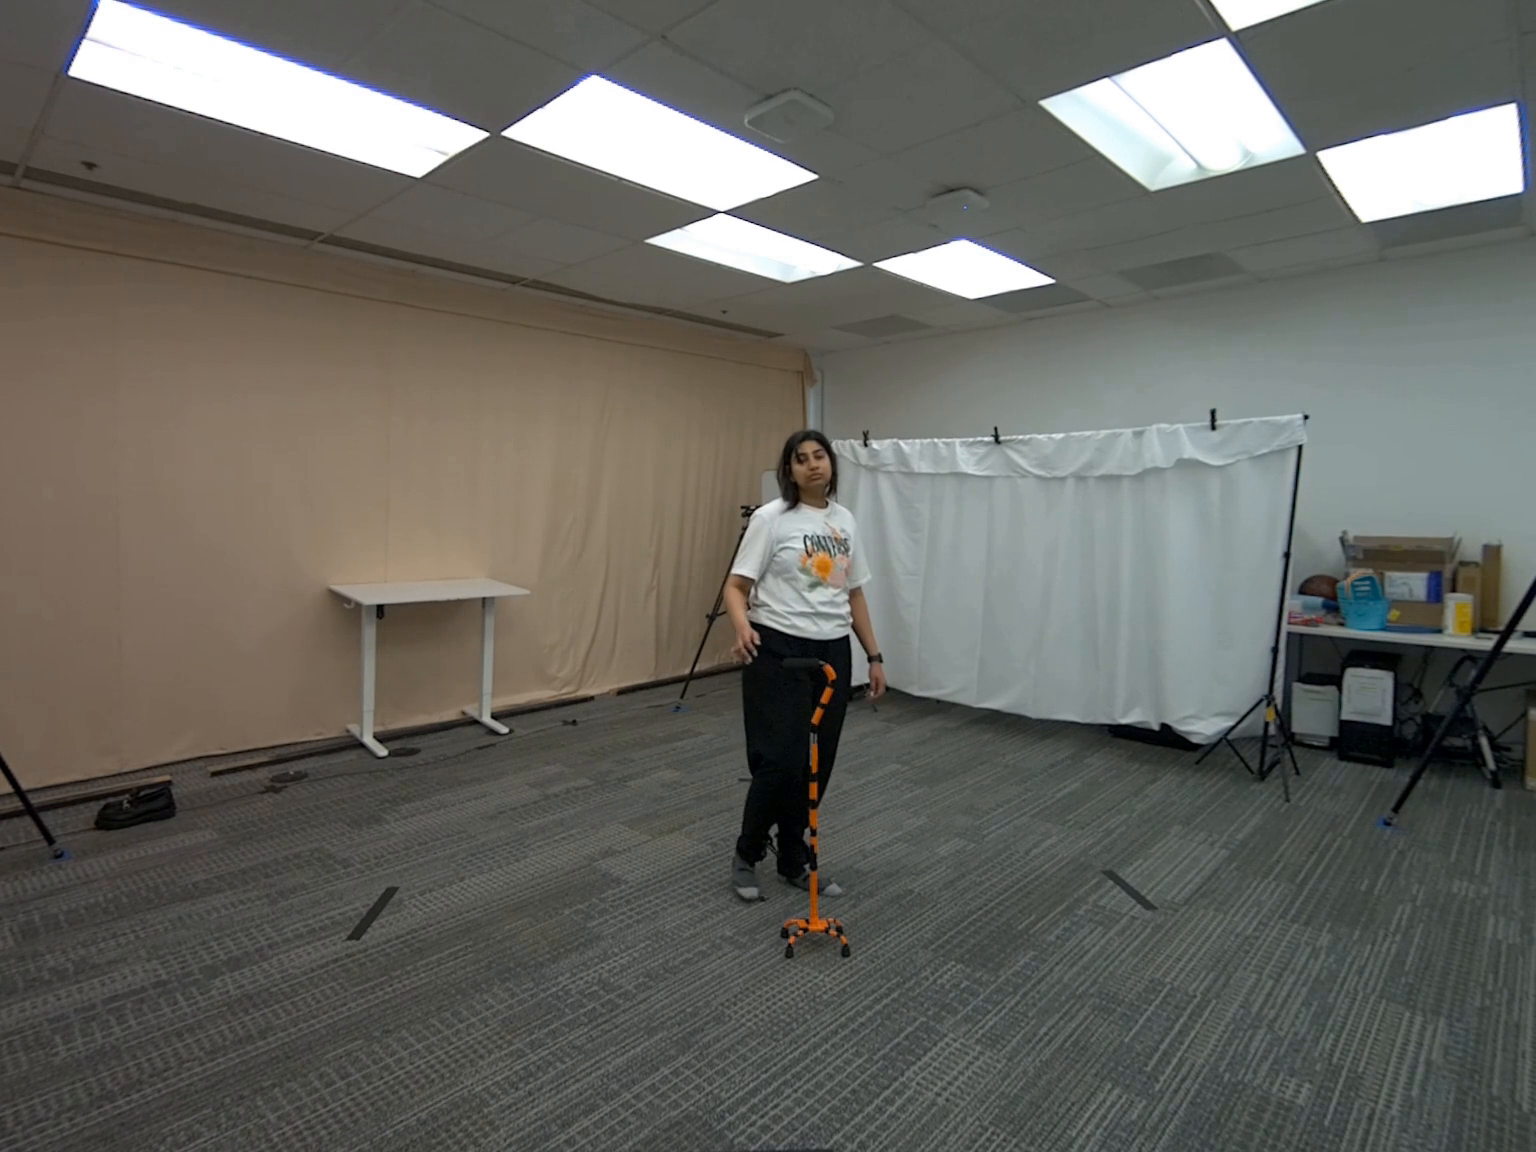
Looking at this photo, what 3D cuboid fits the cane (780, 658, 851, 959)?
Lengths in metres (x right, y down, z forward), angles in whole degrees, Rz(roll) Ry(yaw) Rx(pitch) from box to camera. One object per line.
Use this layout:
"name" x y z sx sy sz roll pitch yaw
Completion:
"cane" 0.149 0.713 2.649 0.206 0.906 0.152 -1 3 -2
